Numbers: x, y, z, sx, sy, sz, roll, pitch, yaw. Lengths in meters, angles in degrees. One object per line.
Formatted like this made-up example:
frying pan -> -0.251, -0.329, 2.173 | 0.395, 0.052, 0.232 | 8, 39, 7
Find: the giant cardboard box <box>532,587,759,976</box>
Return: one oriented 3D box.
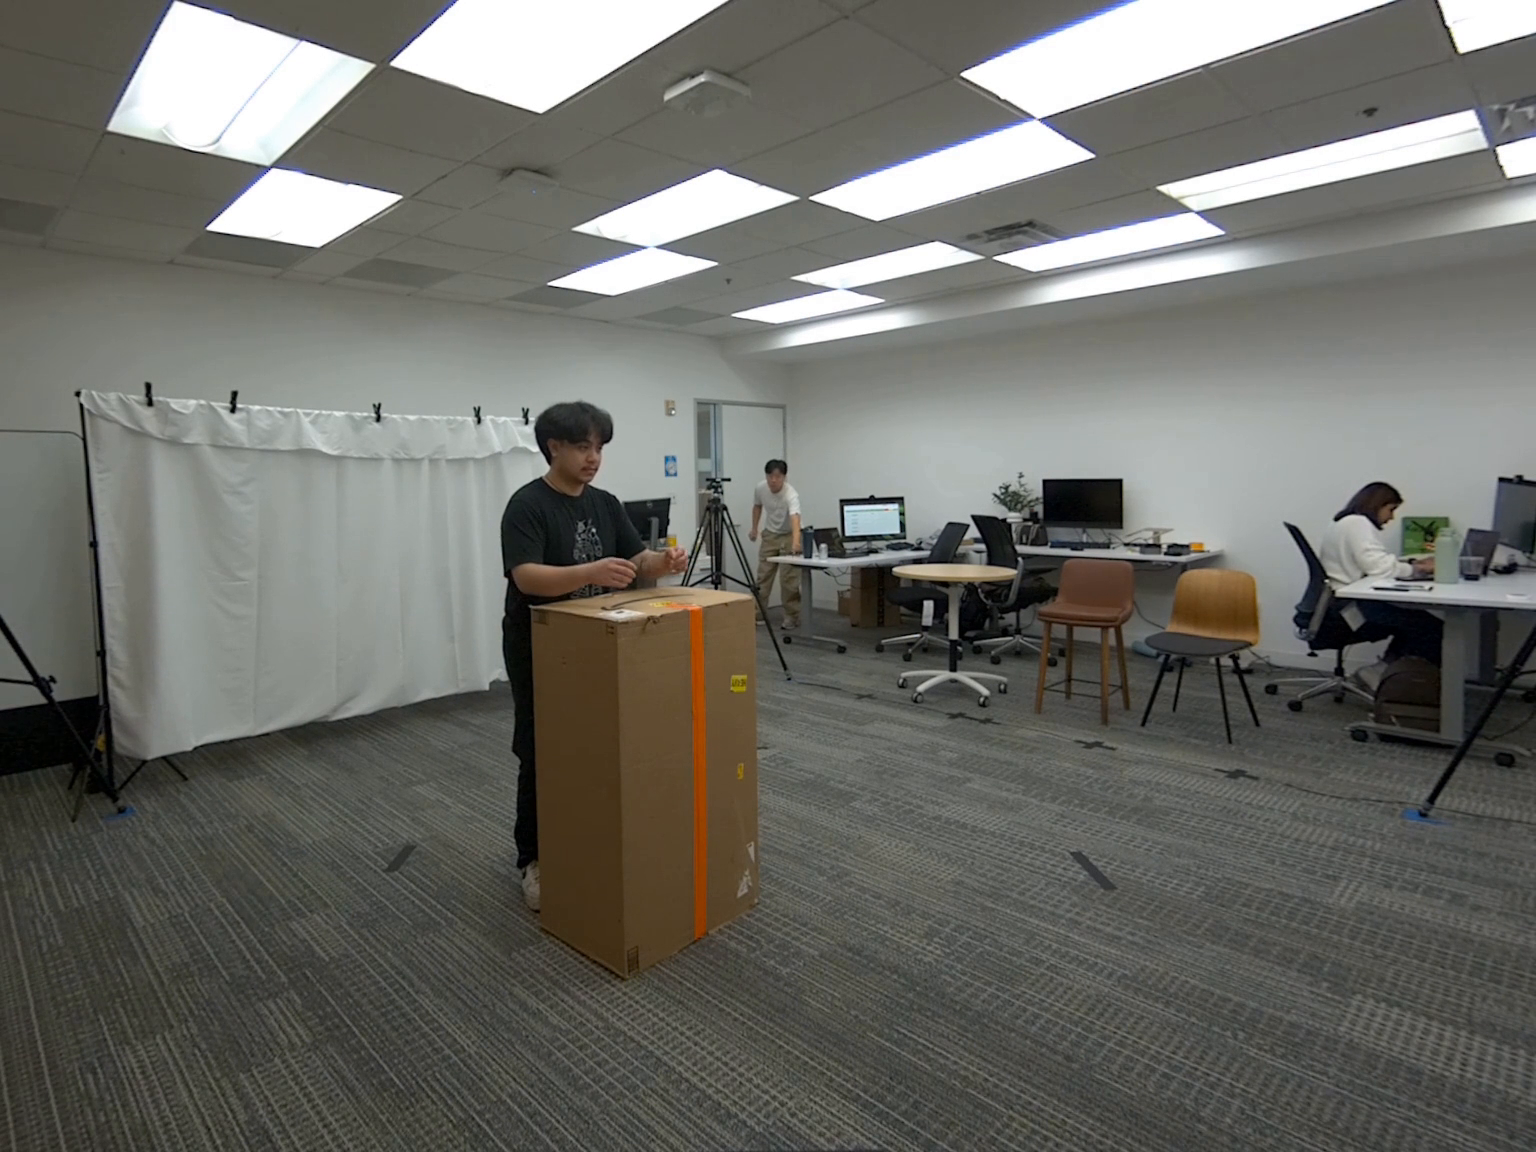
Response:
giant cardboard box -> -0.373, 0.585, 2.706 | 0.461, 1.022, 0.568 | 4, 7, 43
